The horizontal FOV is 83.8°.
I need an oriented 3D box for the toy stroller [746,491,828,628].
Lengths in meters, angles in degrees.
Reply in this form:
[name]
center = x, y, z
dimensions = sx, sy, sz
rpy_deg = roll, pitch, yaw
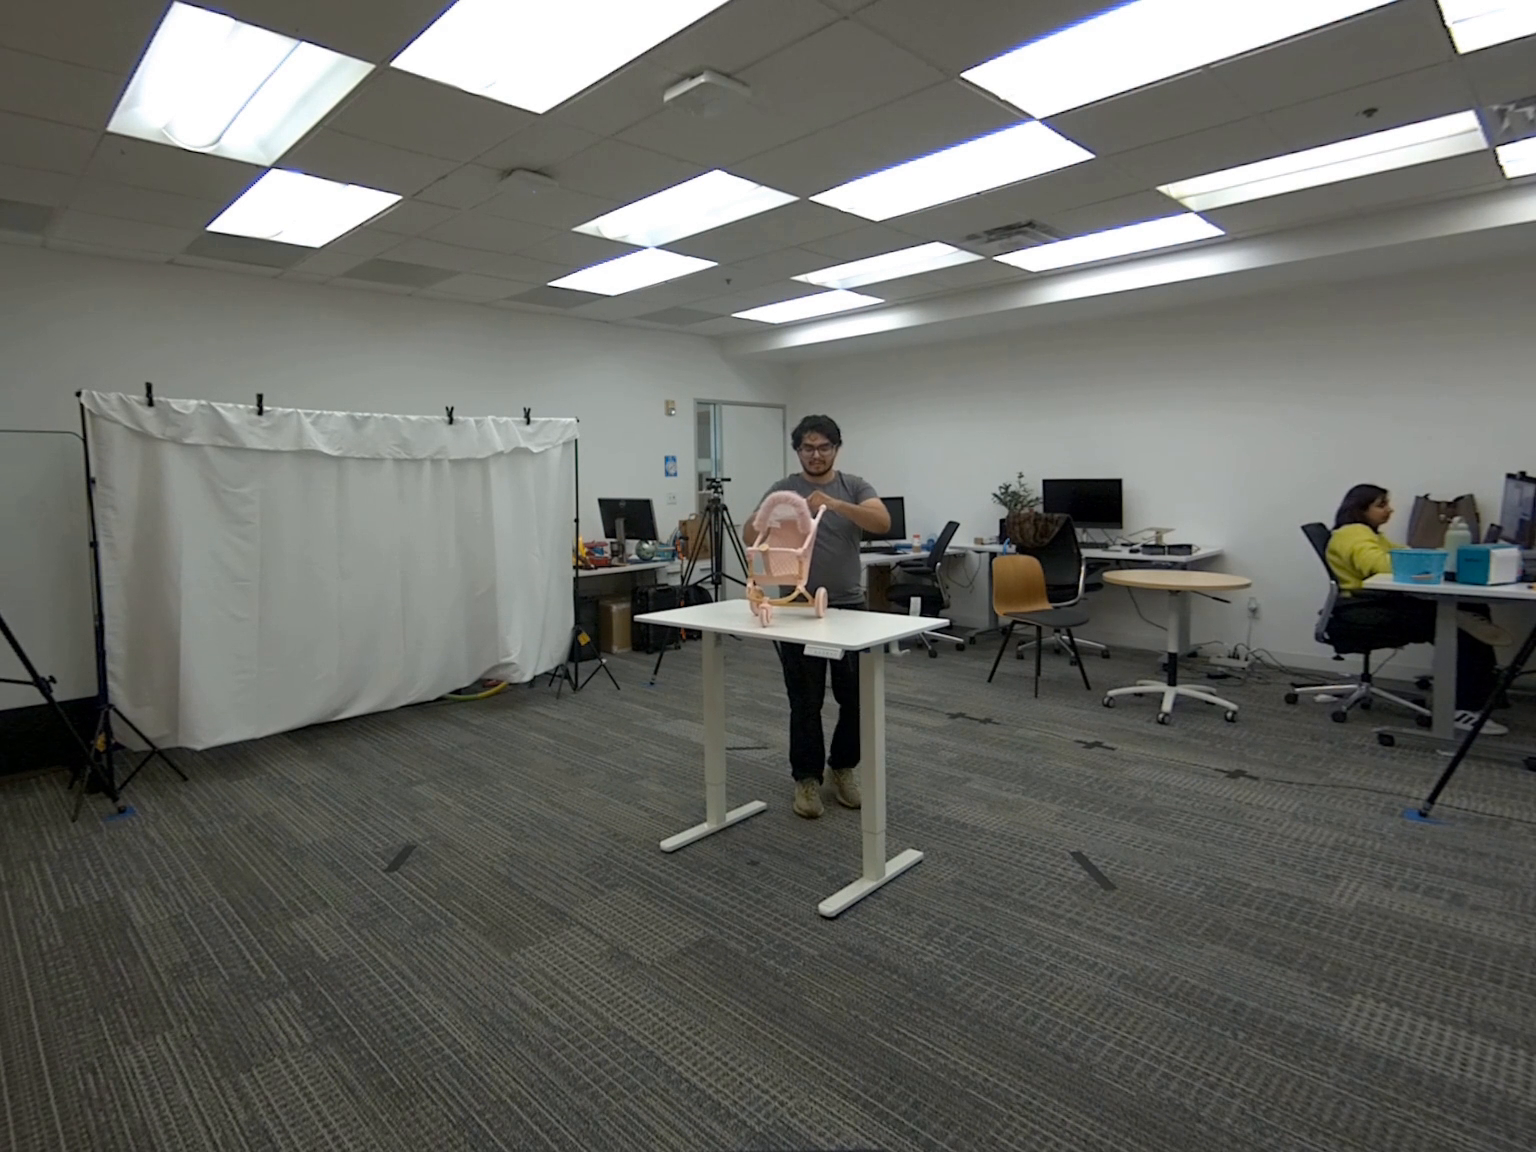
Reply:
[toy stroller]
center = 0.049, -0.067, 3.099
dimensions = 0.288, 0.540, 0.330
rpy_deg = 0, -12, 26
